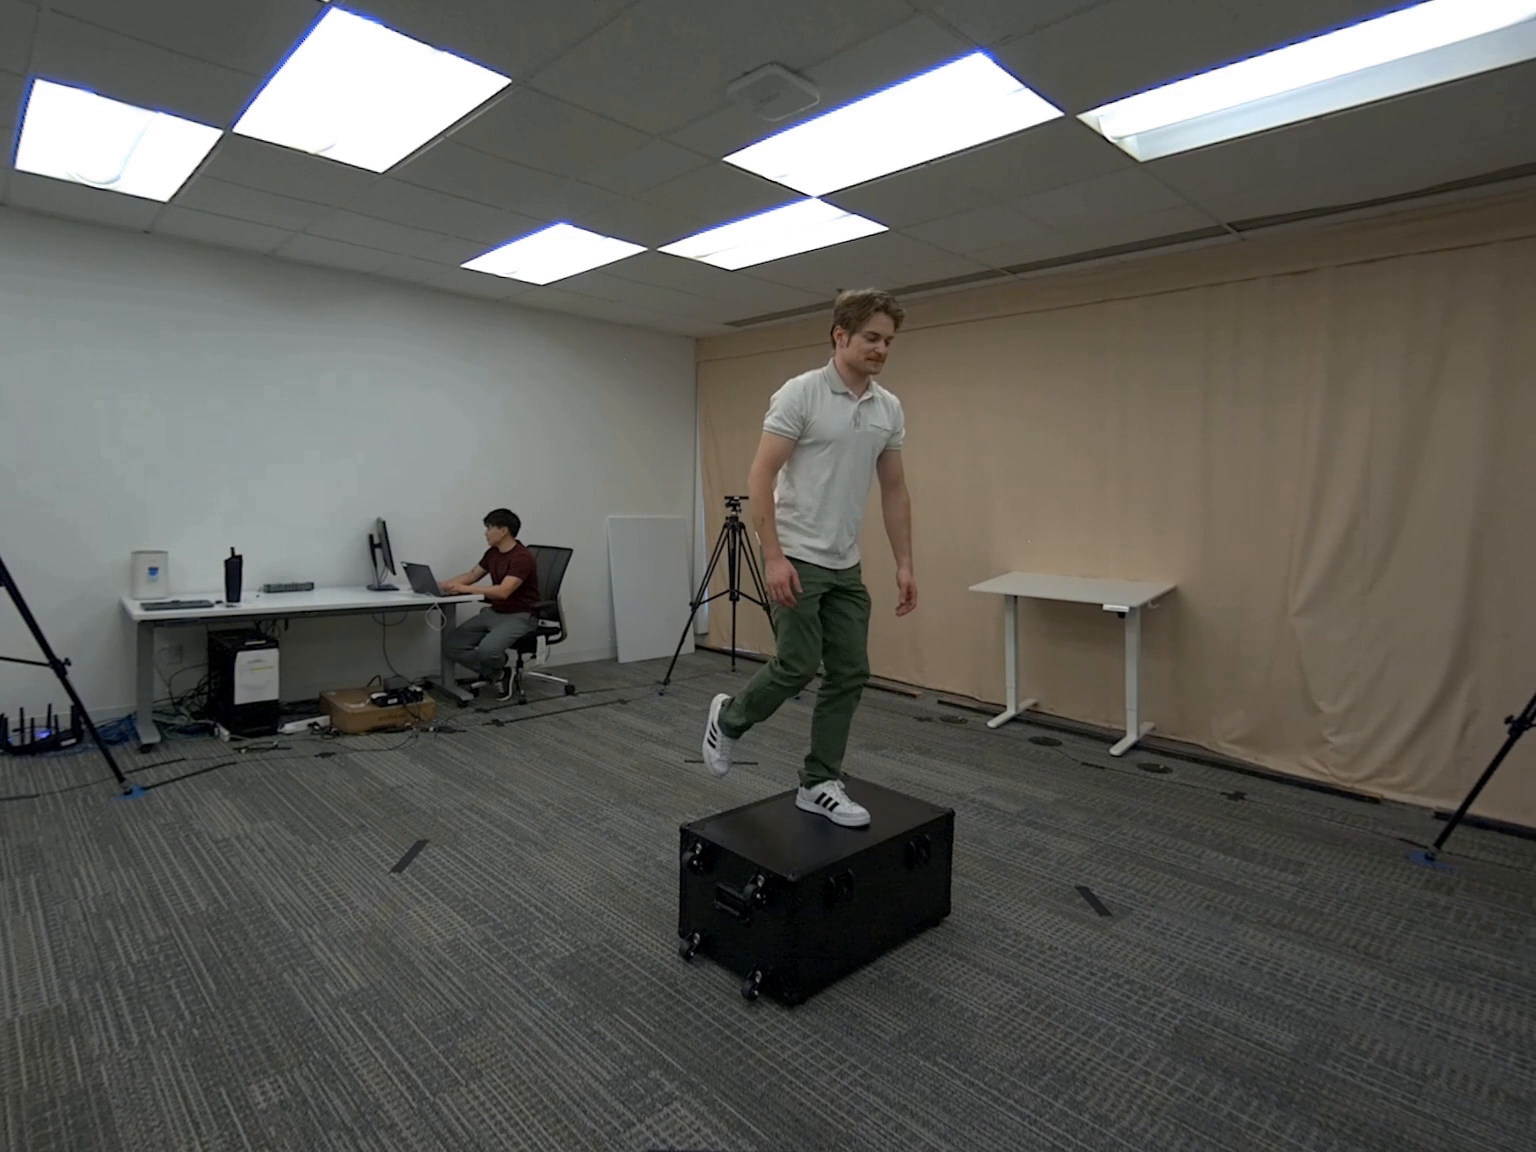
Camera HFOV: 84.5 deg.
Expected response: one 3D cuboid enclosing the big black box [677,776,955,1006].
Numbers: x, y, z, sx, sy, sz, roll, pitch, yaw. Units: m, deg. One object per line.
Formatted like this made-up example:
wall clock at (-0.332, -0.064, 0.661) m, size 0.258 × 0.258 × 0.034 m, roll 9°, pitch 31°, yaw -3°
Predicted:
big black box at (0.133, 0.958, 2.679) m, size 0.849 × 0.384 × 0.537 m, roll -4°, pitch 8°, yaw -44°
